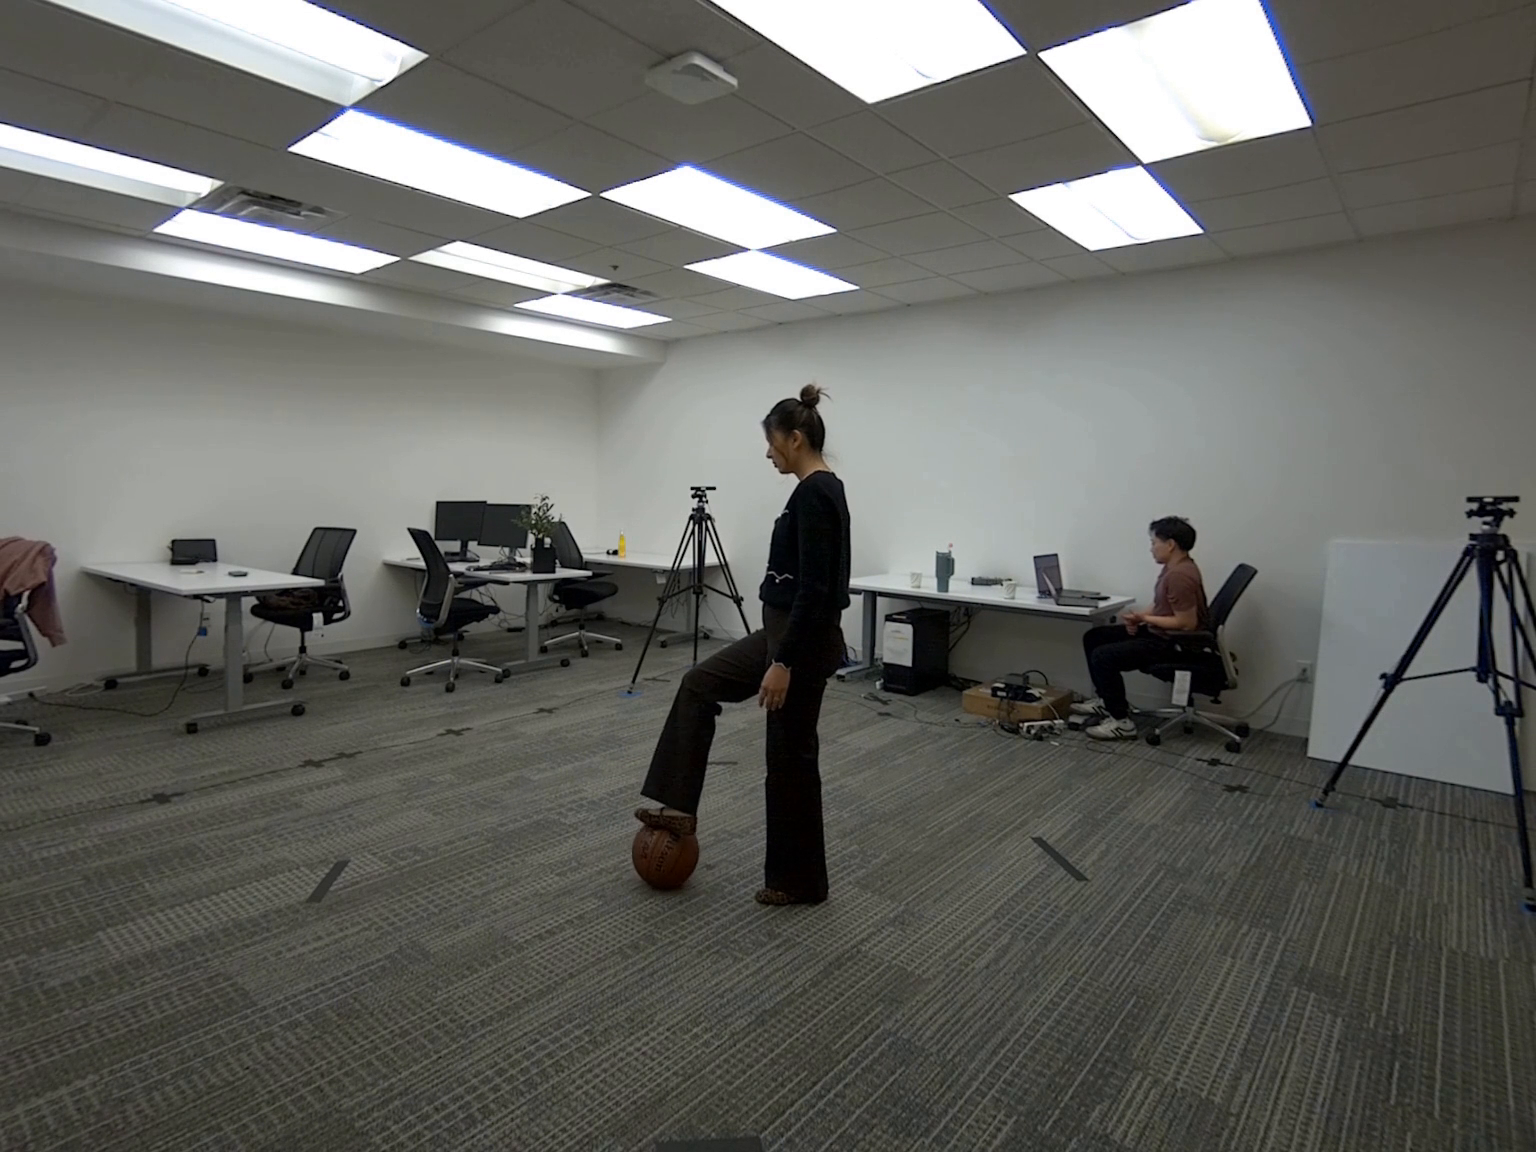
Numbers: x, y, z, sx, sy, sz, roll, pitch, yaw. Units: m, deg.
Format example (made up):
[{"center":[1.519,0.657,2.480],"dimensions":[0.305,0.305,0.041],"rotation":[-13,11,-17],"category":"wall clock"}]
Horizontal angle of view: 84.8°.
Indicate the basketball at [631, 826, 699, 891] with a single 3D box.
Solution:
[{"center":[-0.367,0.966,2.983],"dimensions":[0.235,0.235,0.237],"rotation":[1,4,-2],"category":"basketball"}]
